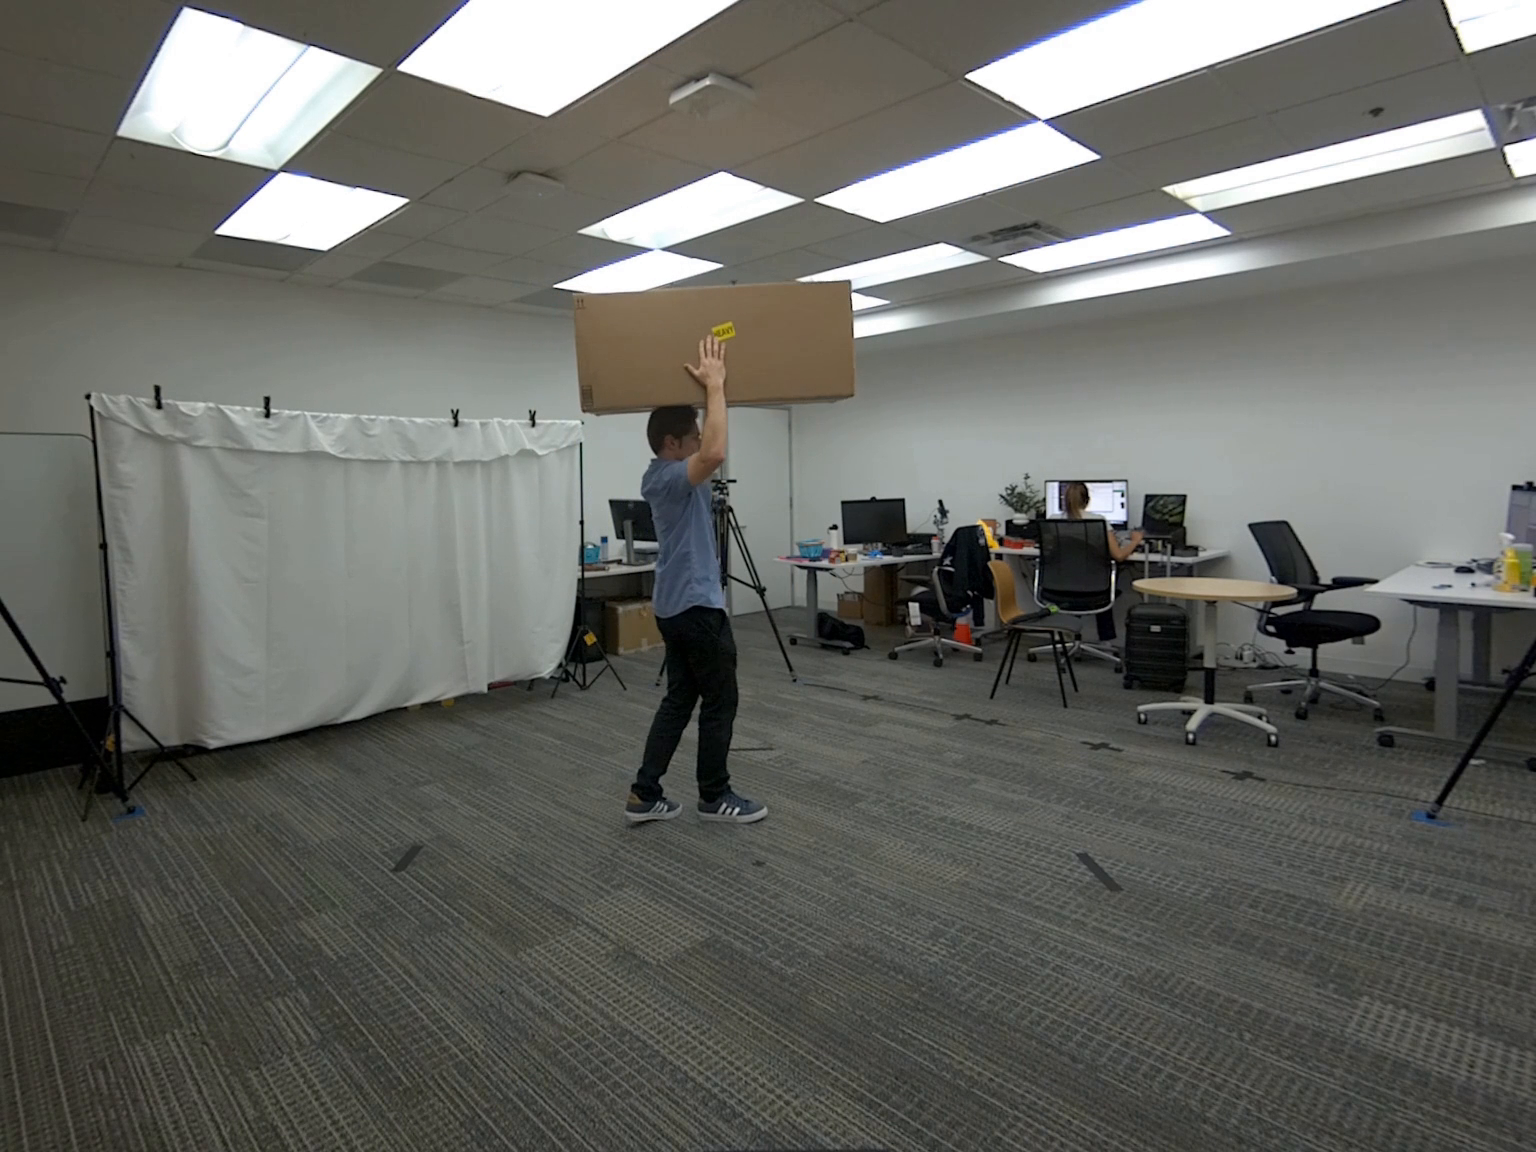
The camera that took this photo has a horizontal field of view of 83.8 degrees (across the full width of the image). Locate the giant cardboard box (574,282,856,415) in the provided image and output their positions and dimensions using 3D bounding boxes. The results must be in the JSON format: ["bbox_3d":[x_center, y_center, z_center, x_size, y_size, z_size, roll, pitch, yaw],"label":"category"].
[{"bbox_3d":[-0.216,-0.894,3.402,1.025,0.423,0.583,-4,9,-1],"label":"giant cardboard box"}]
